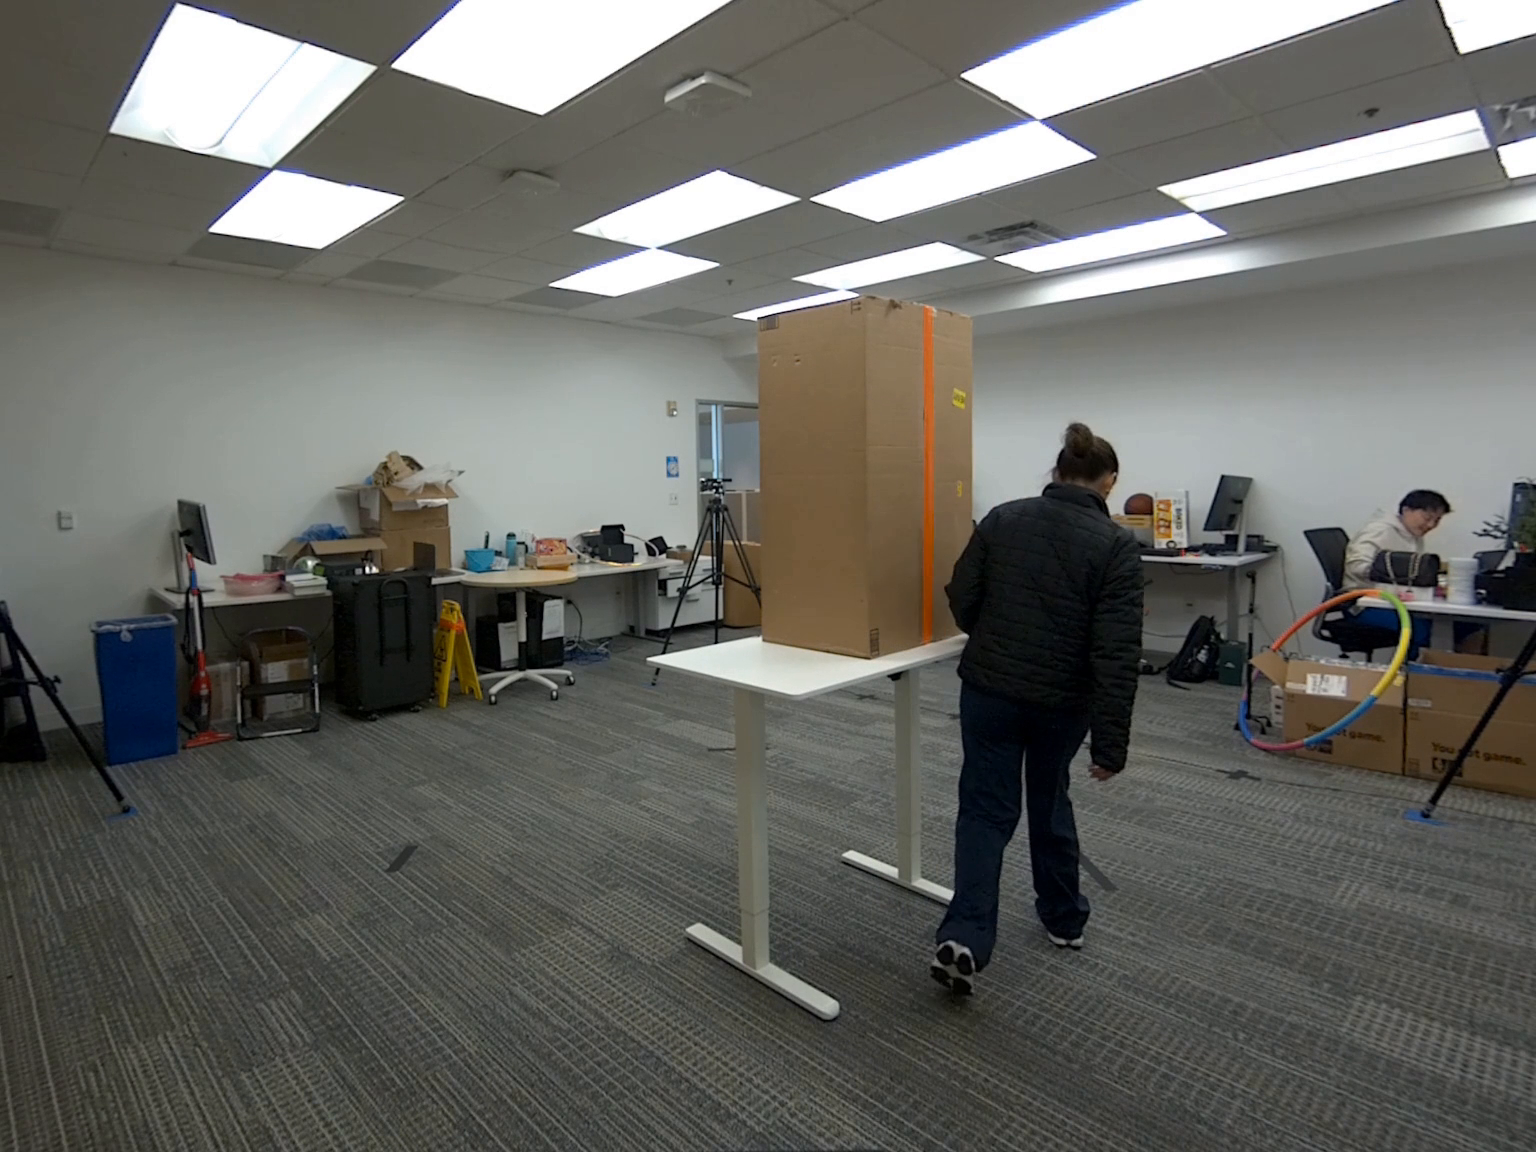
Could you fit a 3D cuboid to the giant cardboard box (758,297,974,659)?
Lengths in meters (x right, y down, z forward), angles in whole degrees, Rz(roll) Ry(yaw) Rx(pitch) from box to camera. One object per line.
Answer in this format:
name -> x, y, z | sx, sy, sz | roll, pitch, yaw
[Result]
giant cardboard box -> 0.320, -0.312, 2.740 | 0.439, 1.022, 0.562 | 3, 6, 44
